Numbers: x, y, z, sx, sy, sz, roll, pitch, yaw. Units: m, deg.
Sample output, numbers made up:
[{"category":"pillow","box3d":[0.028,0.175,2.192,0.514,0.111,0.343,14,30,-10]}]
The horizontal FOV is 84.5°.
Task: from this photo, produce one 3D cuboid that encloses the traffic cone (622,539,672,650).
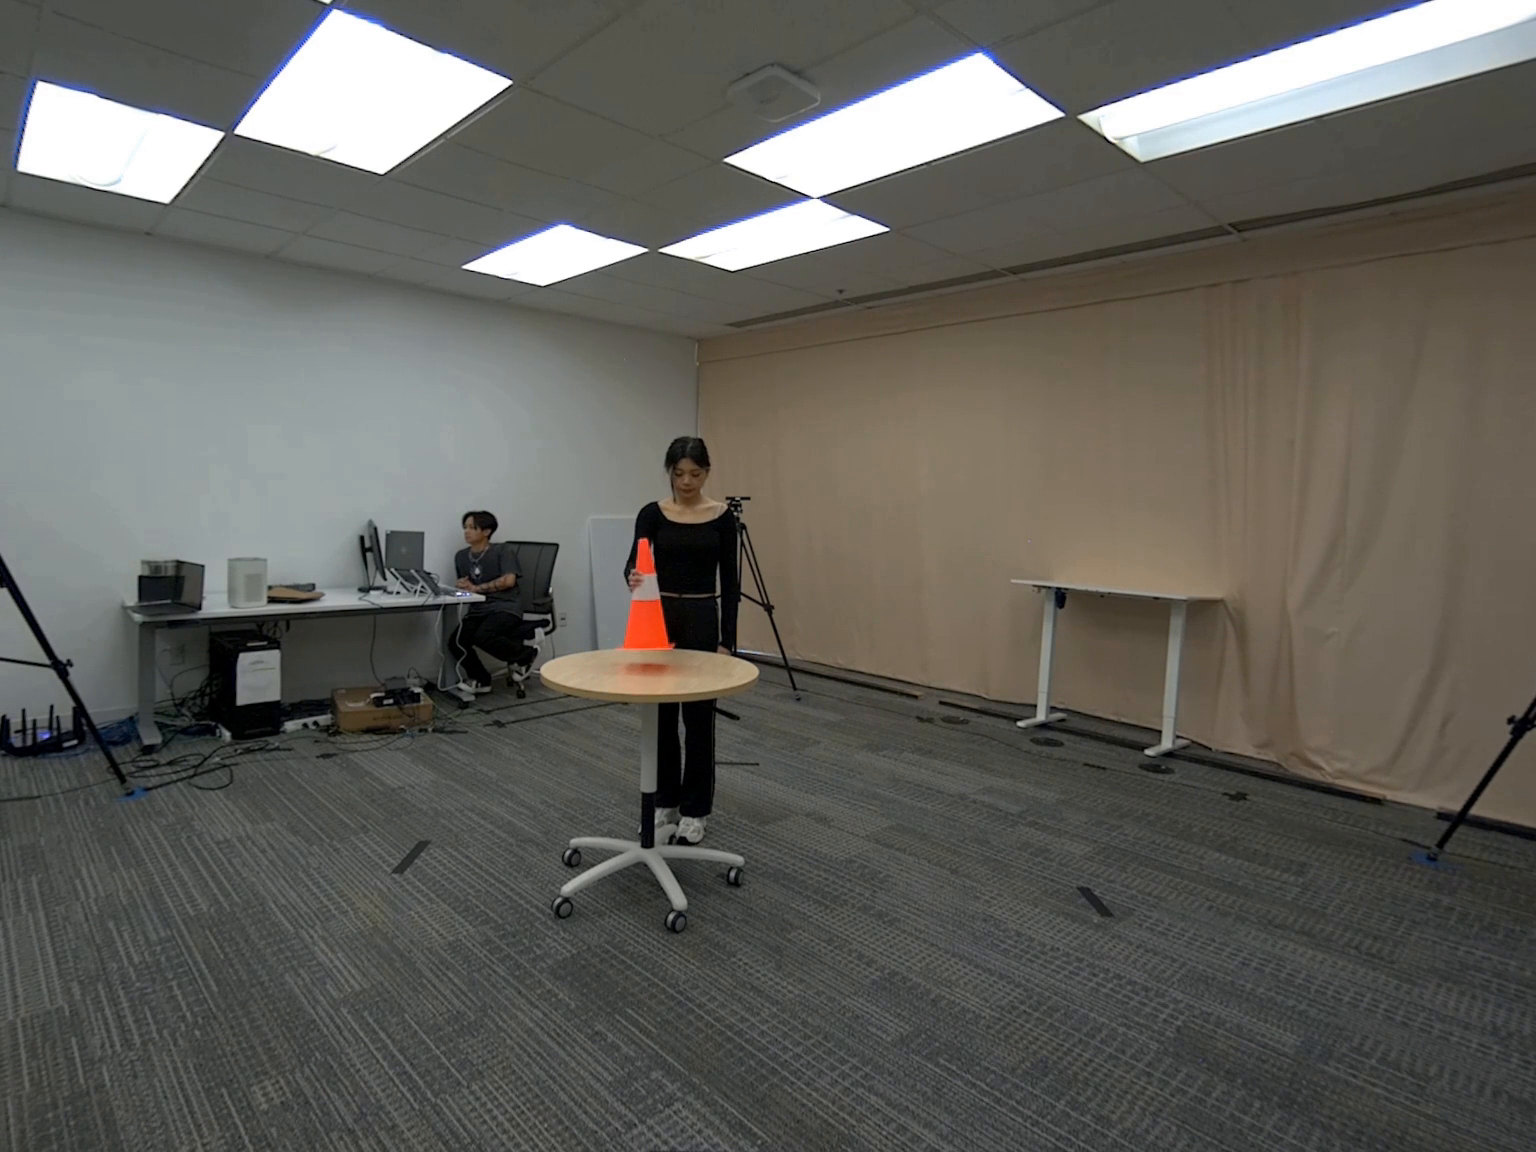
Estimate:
[{"category":"traffic cone","box3d":[-0.450,0.066,2.969,0.206,0.384,0.202,-1,0,6]}]
